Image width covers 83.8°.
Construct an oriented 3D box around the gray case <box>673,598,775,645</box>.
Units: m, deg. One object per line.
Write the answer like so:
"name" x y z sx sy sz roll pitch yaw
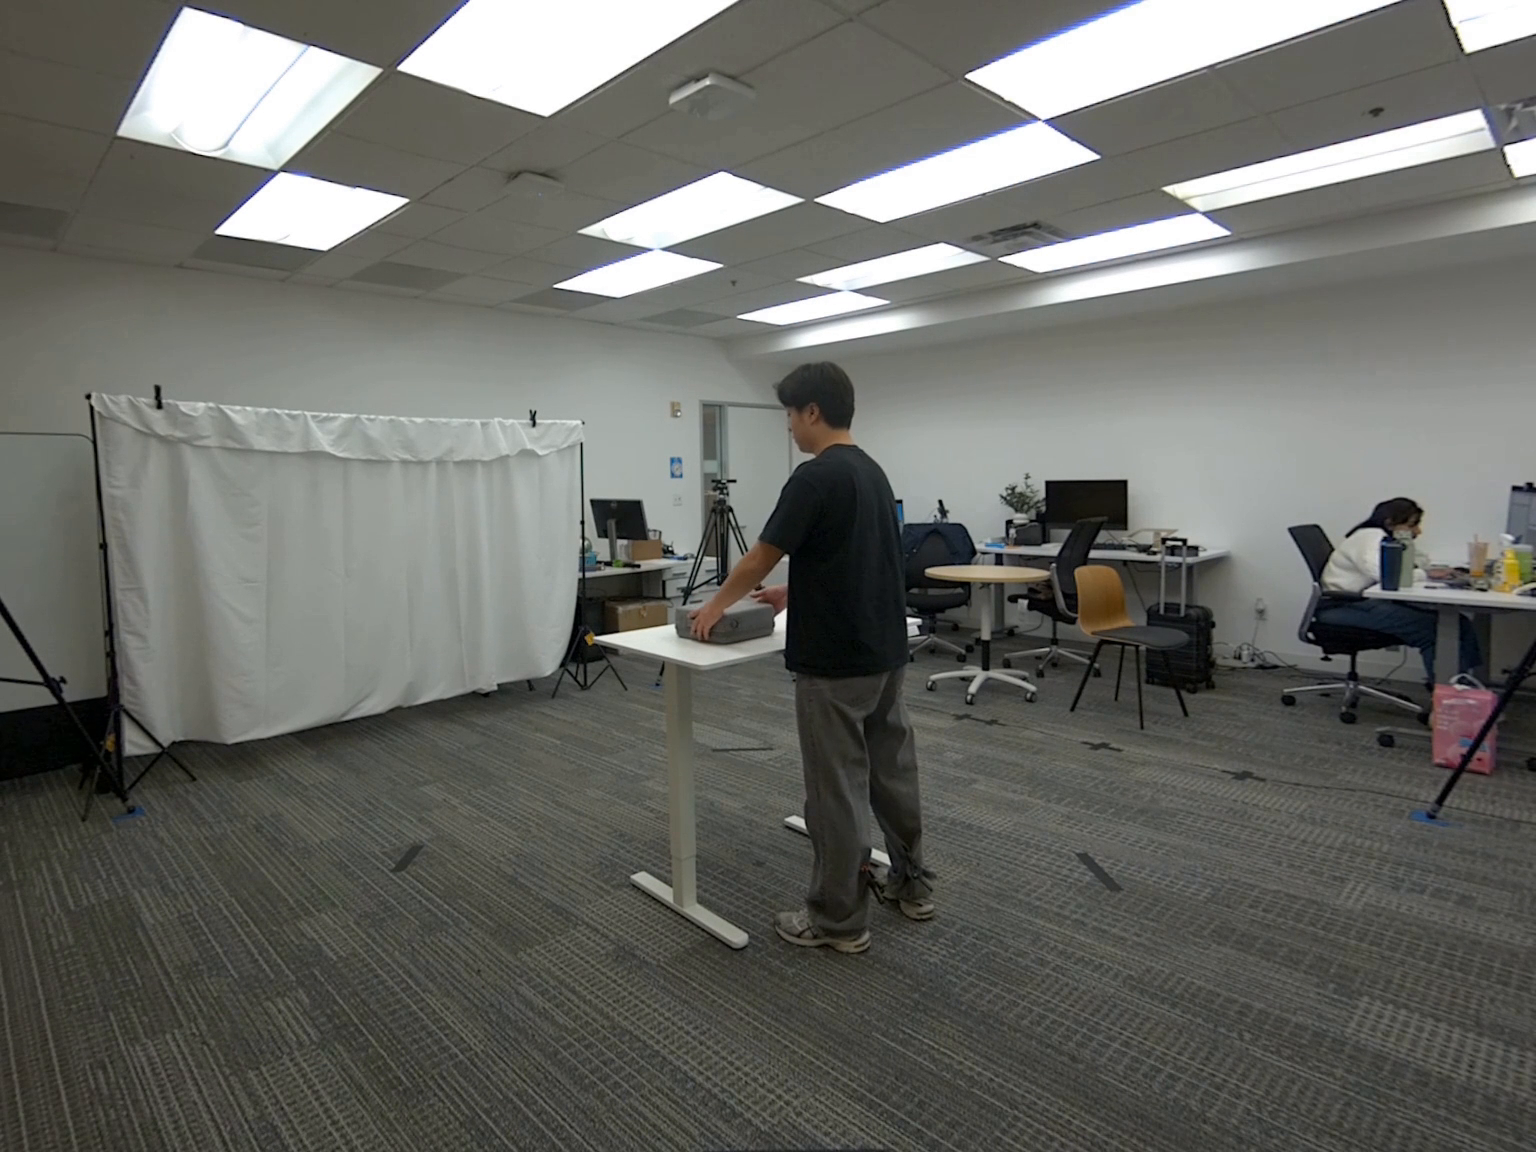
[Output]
"gray case" -0.159 0.149 2.834 0.280 0.102 0.271 -7 9 -42
